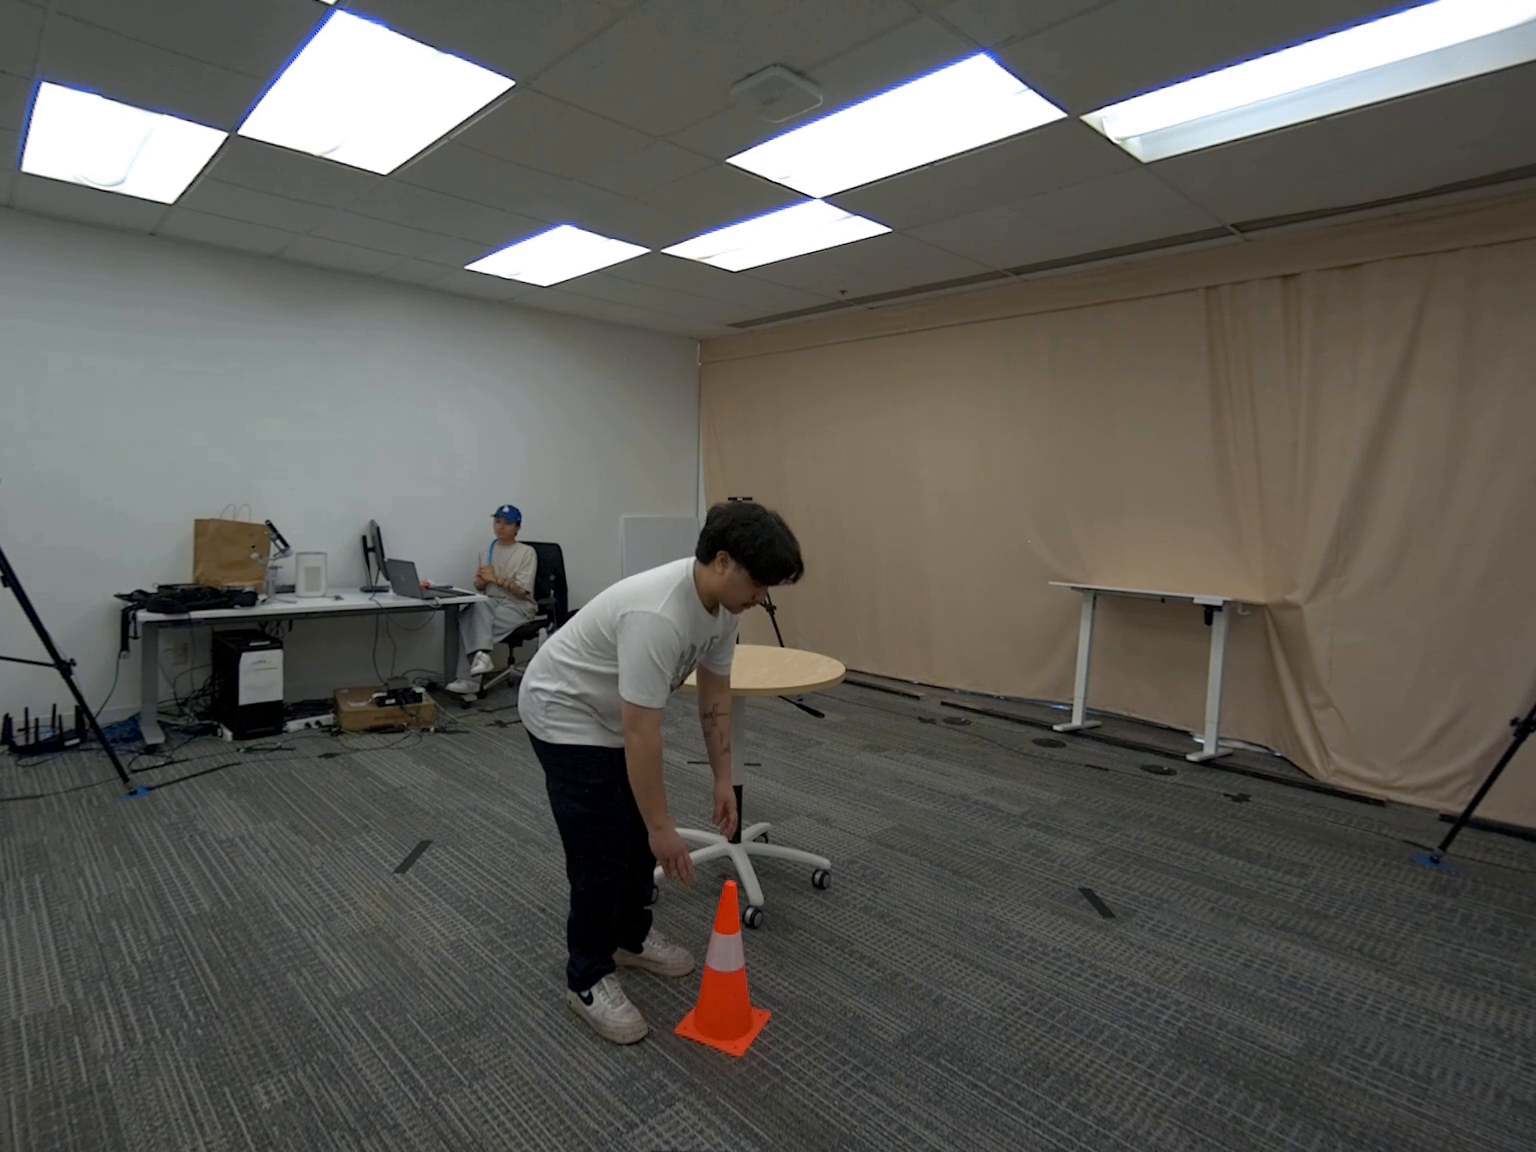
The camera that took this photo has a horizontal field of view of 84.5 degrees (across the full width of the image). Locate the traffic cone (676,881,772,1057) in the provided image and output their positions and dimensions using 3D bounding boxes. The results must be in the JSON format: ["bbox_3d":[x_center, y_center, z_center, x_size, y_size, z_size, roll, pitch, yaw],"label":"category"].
[{"bbox_3d":[-0.117,1.009,2.207,0.210,0.383,0.199,5,4,33],"label":"traffic cone"}]
